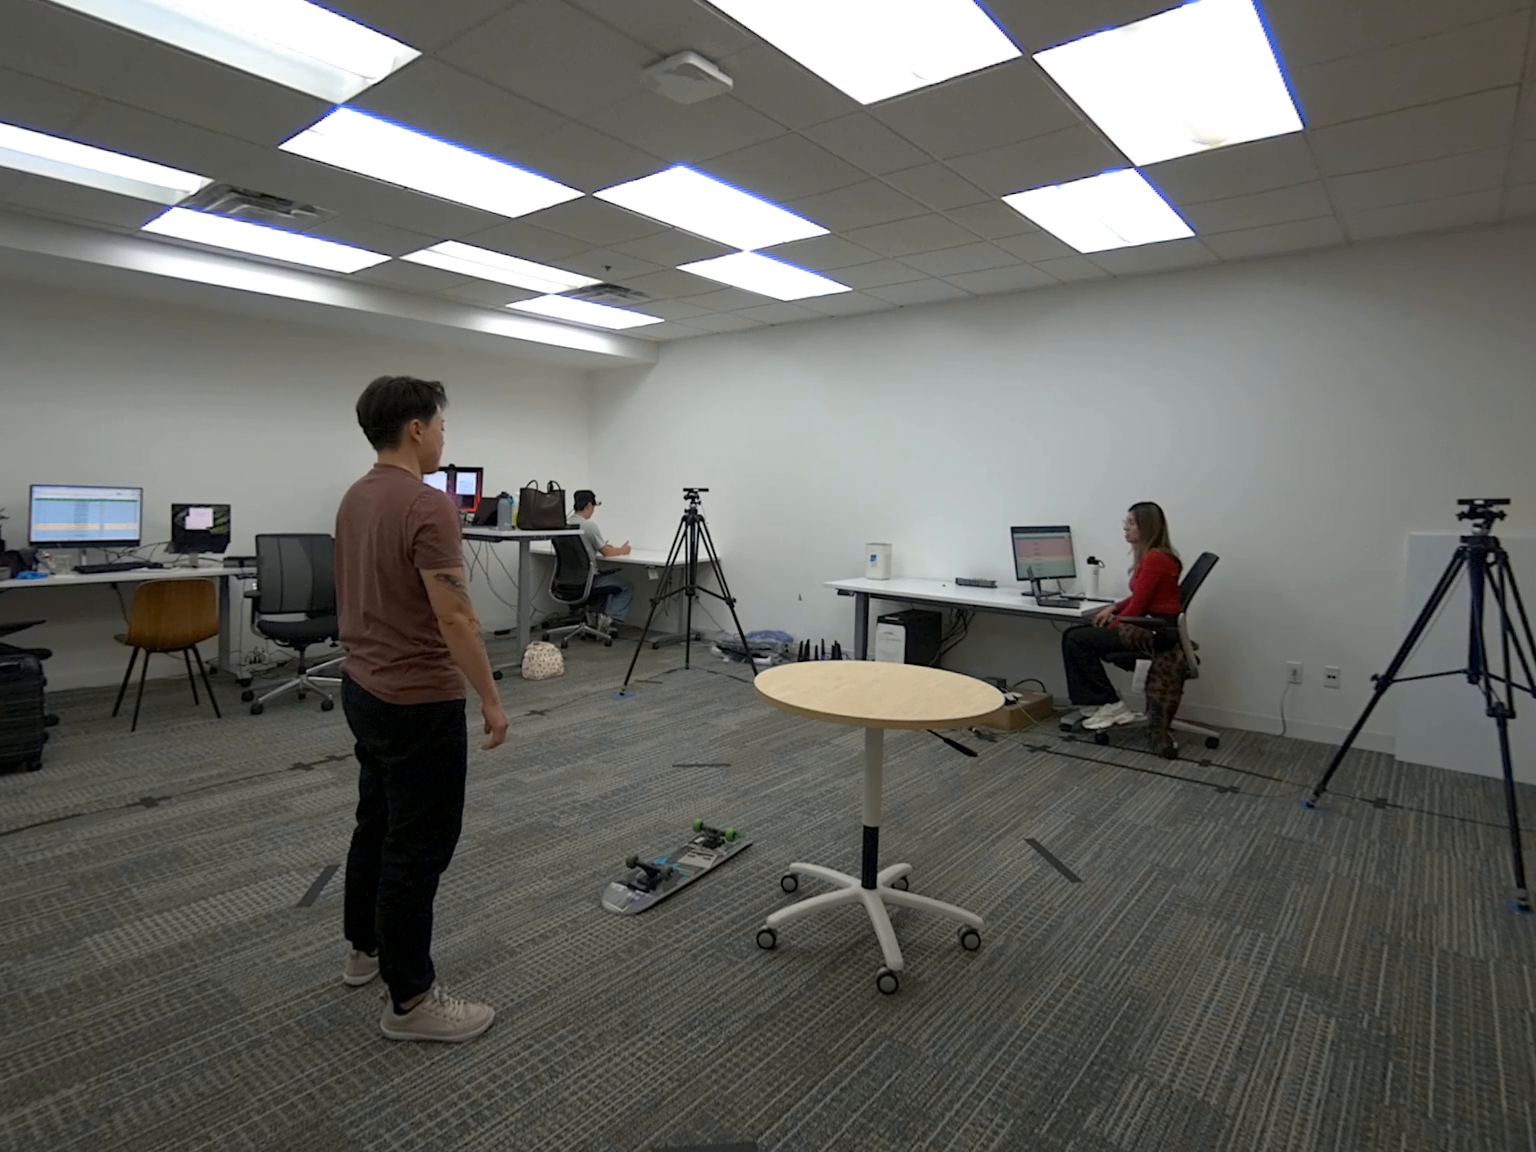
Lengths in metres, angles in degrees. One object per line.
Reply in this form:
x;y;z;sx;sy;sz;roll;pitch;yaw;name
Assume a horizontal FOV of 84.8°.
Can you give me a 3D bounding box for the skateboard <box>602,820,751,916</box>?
-0.317;1.015;3.094;0.199;0.110;0.764;5;7;32;skateboard
